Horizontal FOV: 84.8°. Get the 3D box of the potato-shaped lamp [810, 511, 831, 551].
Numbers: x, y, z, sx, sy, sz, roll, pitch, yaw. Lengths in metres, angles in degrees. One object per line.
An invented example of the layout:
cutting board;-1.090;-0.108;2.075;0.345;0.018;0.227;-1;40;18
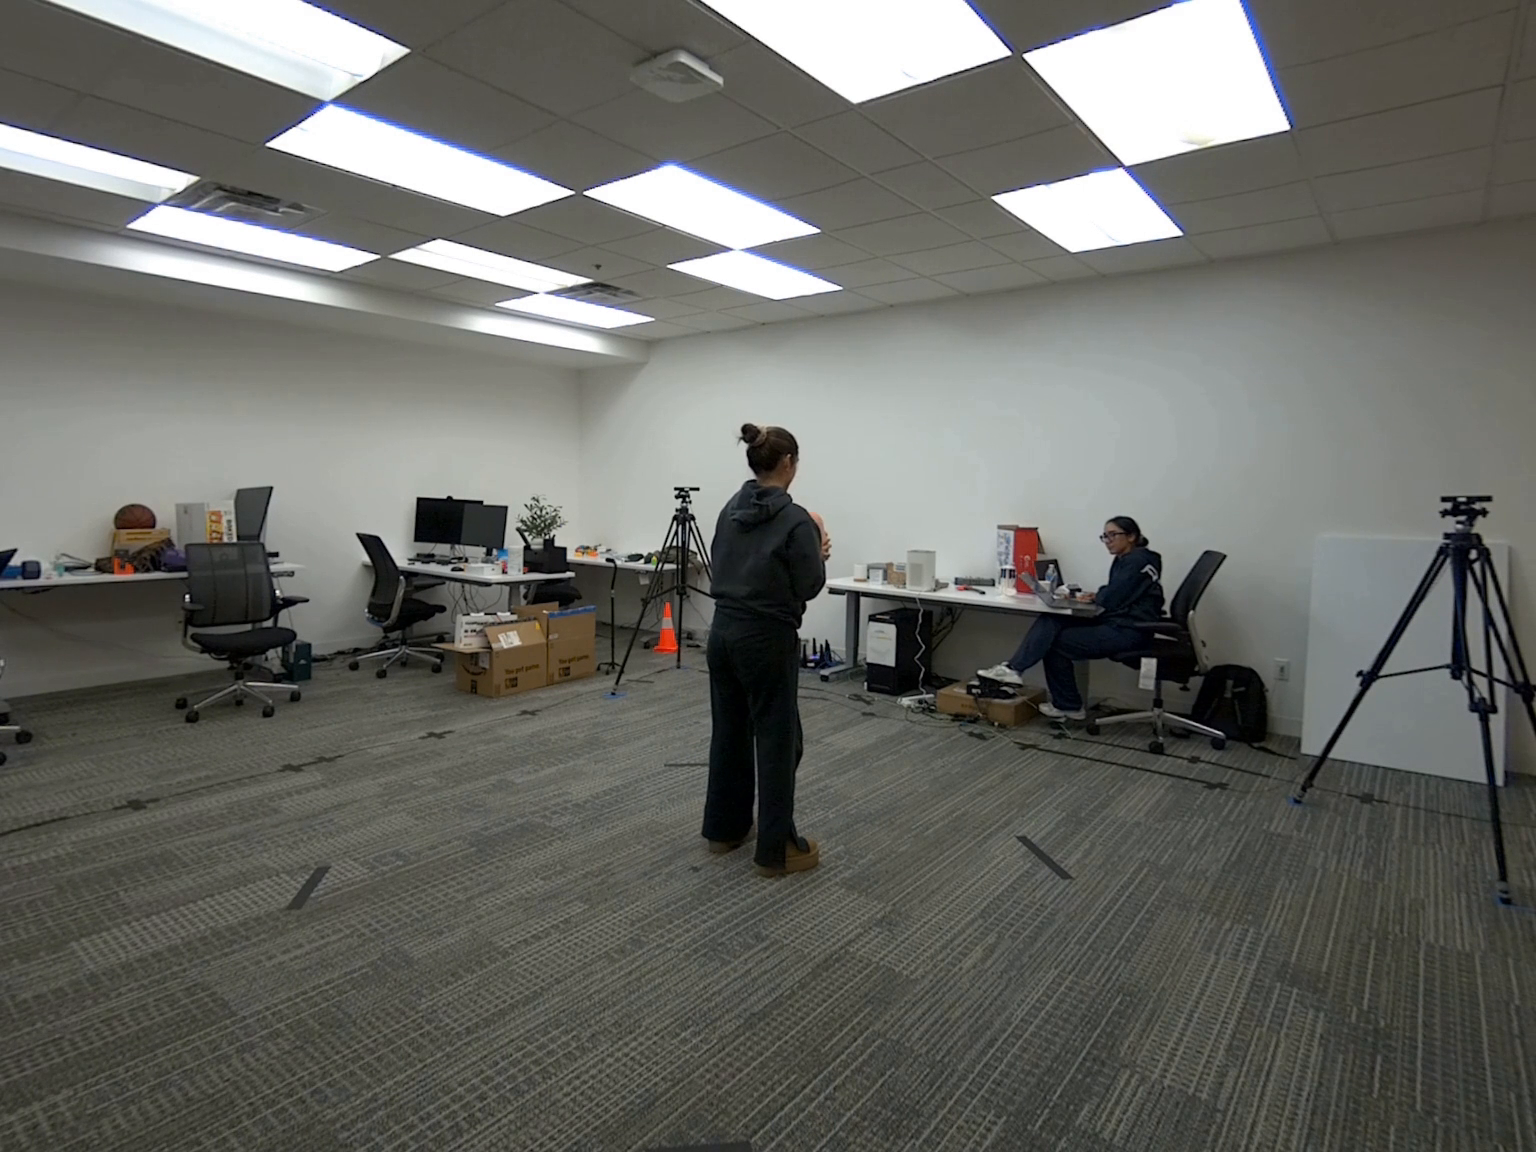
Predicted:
potato-shaped lamp;0.150;-0.161;3.355;0.166;0.199;0.169;5;-5;-35
